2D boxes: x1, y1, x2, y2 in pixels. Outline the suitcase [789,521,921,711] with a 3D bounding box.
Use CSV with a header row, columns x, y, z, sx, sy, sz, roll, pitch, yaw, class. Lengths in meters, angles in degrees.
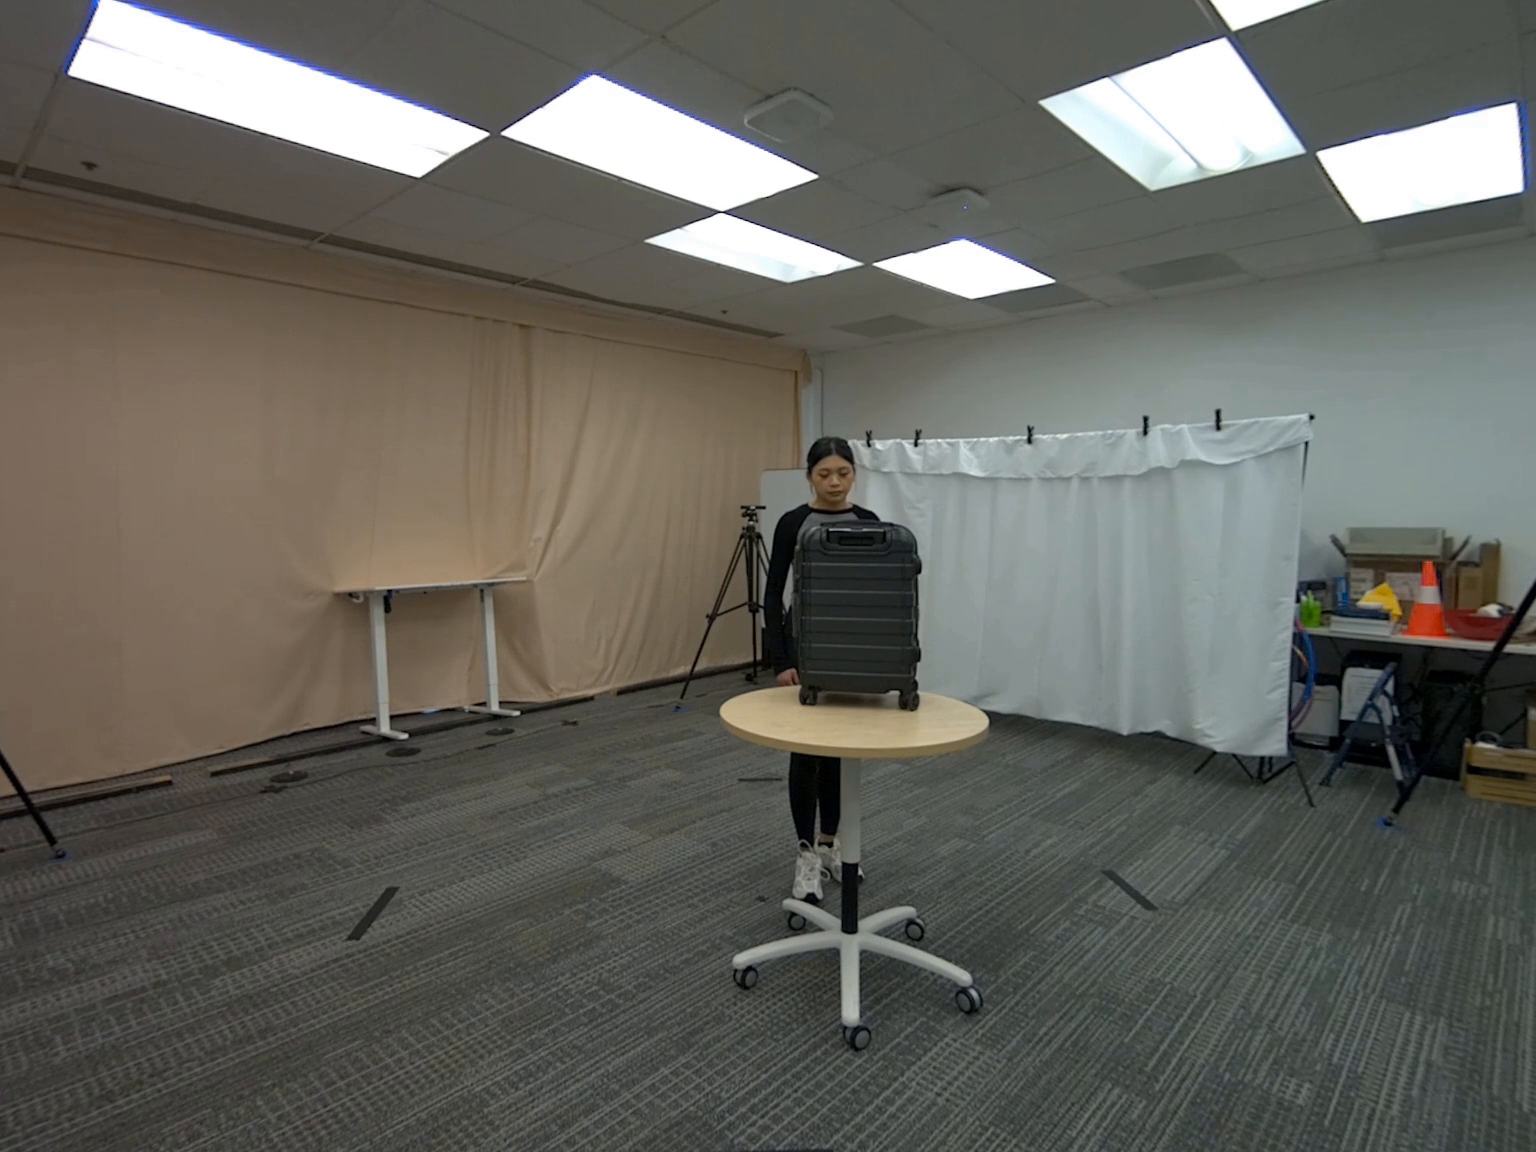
x,y,z,sx,sy,sz,roll,pitch,yaw,class
0.271,0.106,2.585,0.380,0.548,0.246,0,3,11,suitcase
